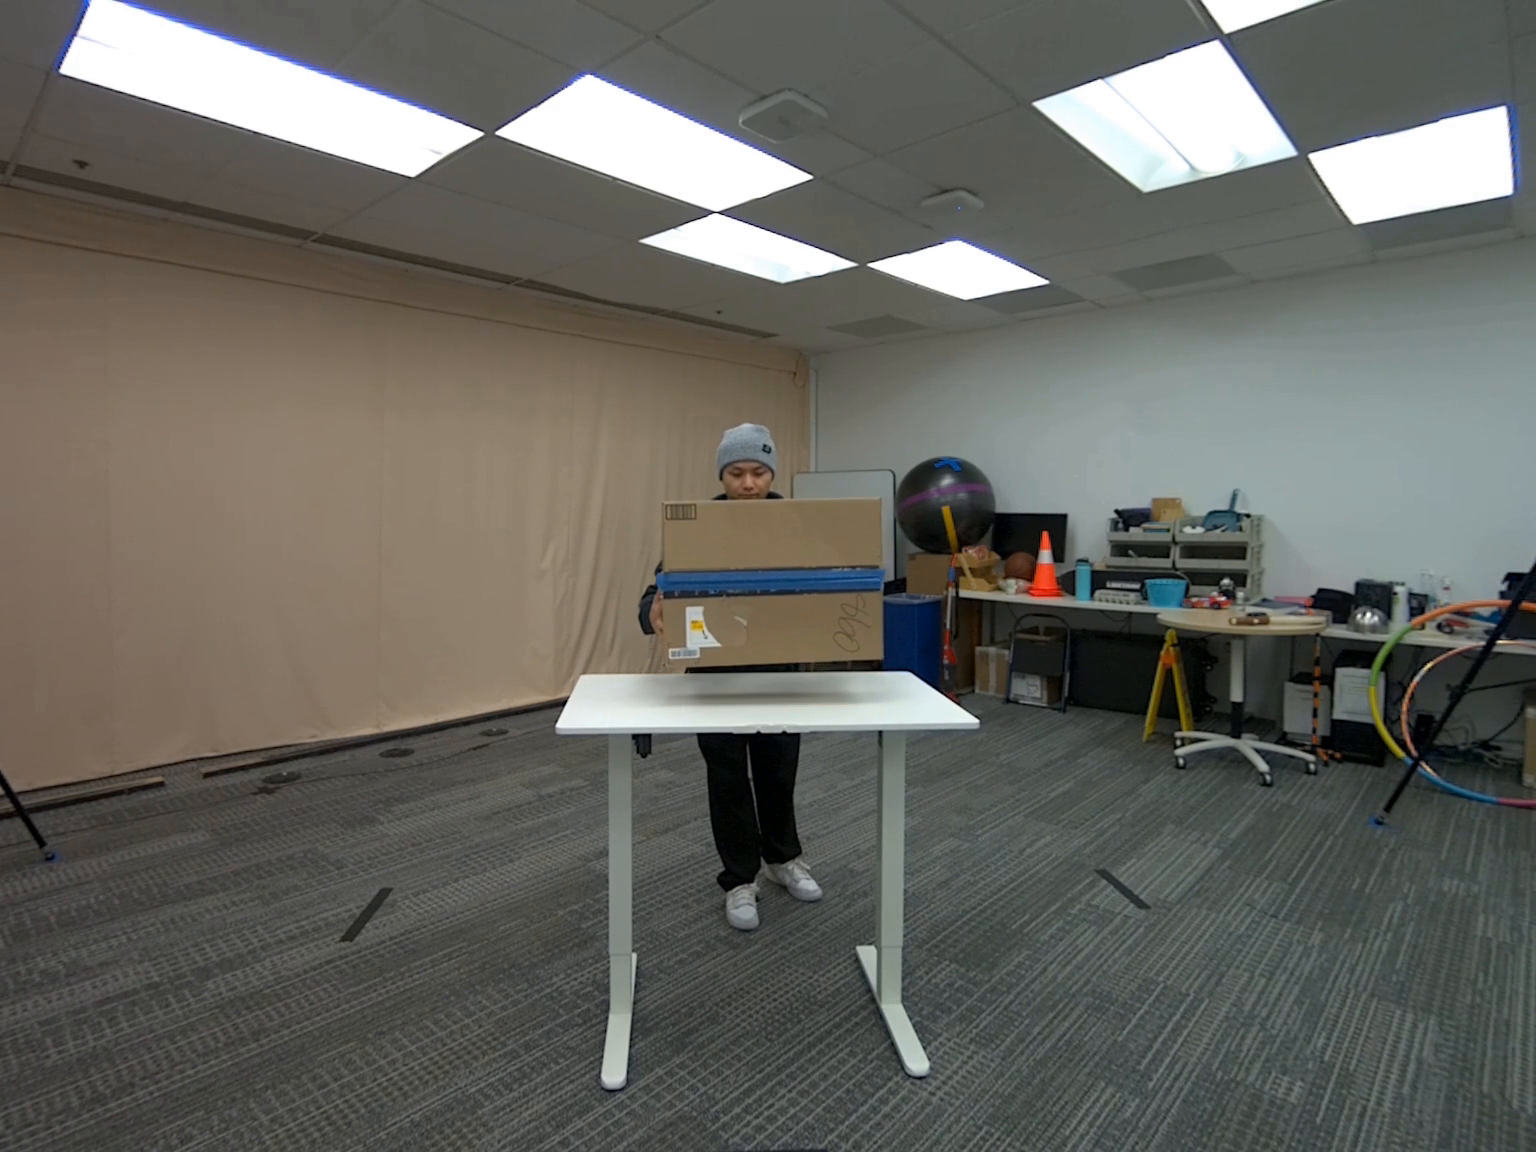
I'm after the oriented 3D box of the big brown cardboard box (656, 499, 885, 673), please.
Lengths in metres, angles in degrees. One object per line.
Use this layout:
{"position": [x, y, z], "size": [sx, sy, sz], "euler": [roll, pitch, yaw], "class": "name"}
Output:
{"position": [-0.005, 0.014, 2.238], "size": [0.586, 0.417, 0.234], "euler": [-2, 0, -5], "class": "big brown cardboard box"}
